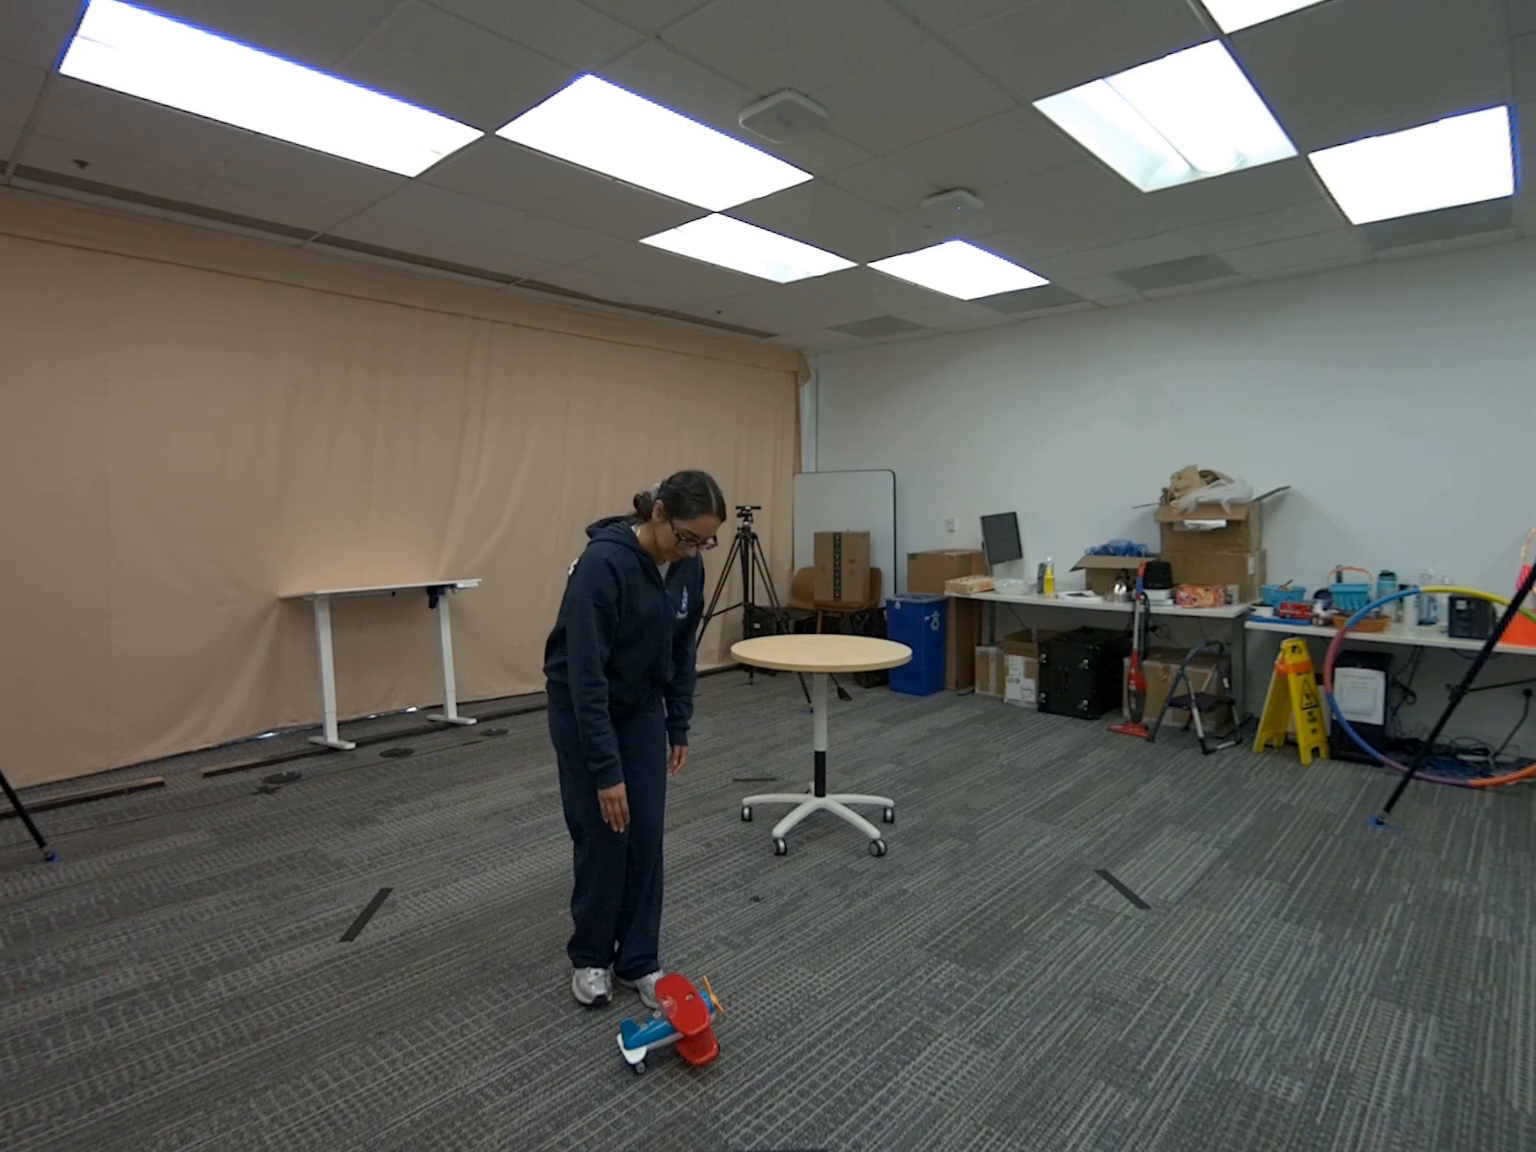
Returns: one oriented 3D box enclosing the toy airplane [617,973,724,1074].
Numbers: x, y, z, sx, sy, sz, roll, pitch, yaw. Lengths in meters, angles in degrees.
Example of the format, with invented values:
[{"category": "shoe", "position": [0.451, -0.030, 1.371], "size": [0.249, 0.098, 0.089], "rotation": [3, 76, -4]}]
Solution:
[{"category": "toy airplane", "position": [-0.217, 1.149, 2.101], "size": [0.259, 0.156, 0.251], "rotation": [2, 4, 38]}]
